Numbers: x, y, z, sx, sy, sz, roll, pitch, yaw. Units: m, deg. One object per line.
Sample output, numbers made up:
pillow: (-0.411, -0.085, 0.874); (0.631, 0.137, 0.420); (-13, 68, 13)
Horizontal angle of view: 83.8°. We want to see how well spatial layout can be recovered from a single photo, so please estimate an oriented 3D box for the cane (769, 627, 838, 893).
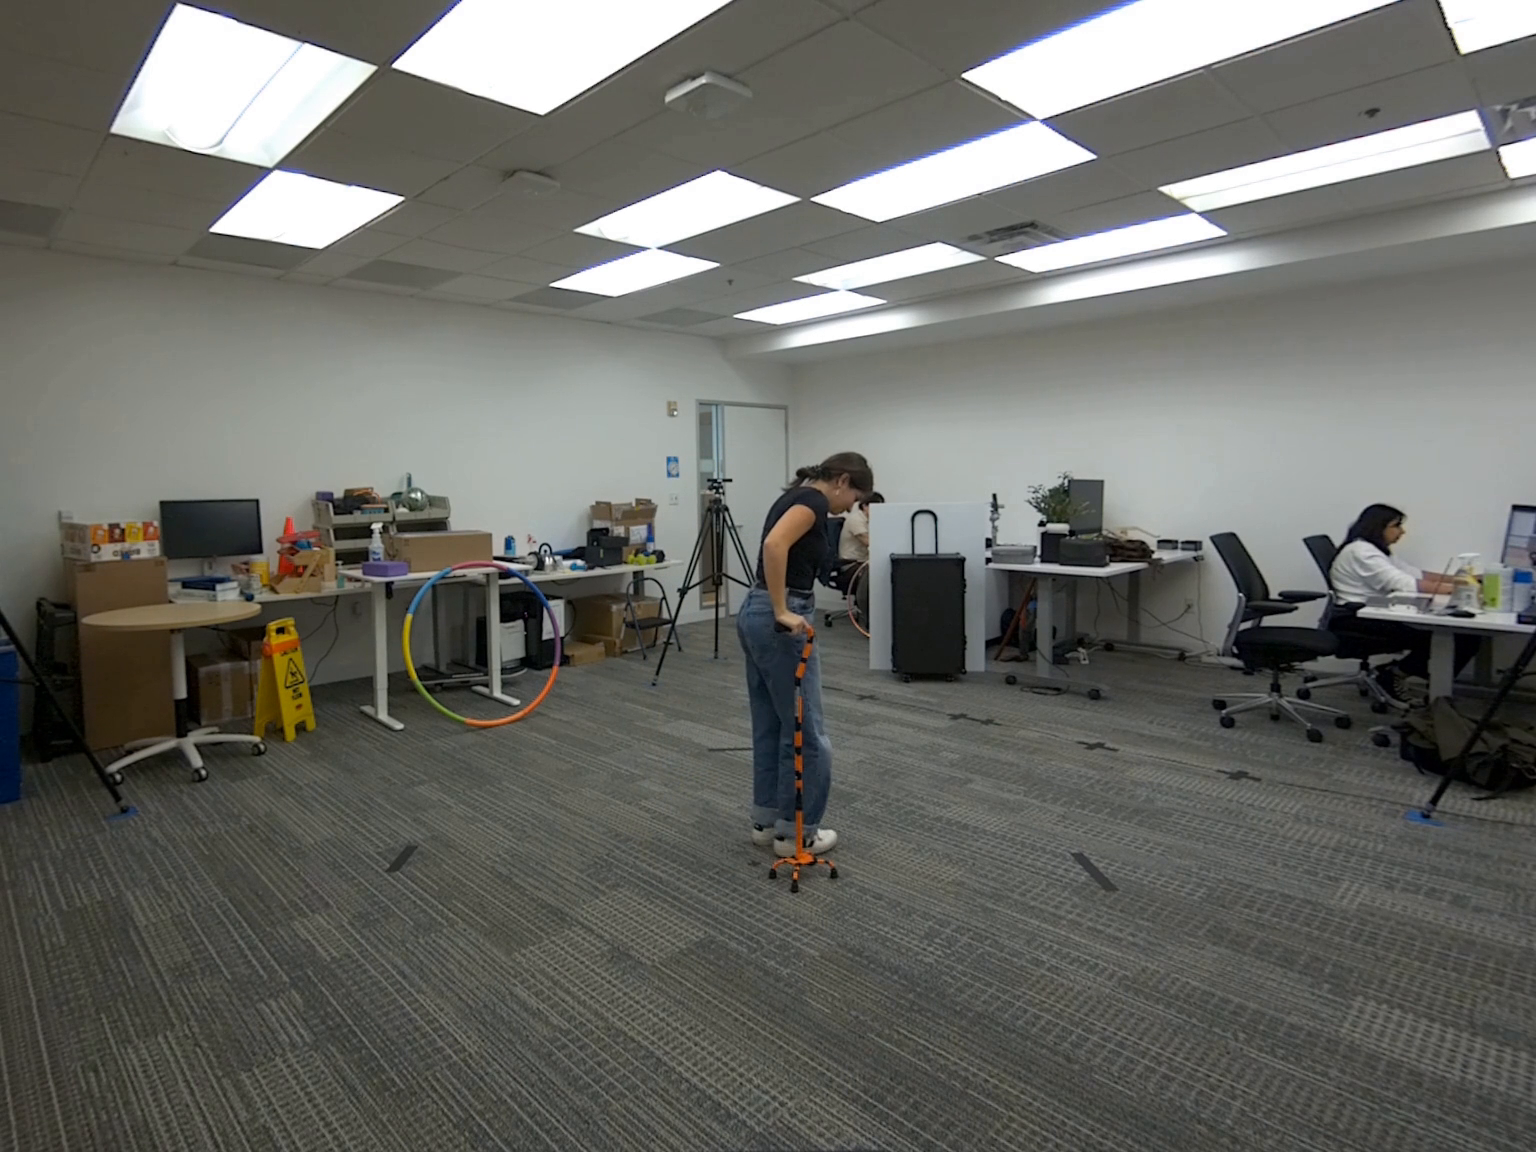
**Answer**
cane: (0.121, 0.608, 2.962); (0.201, 0.905, 0.156); (-2, 5, -37)
